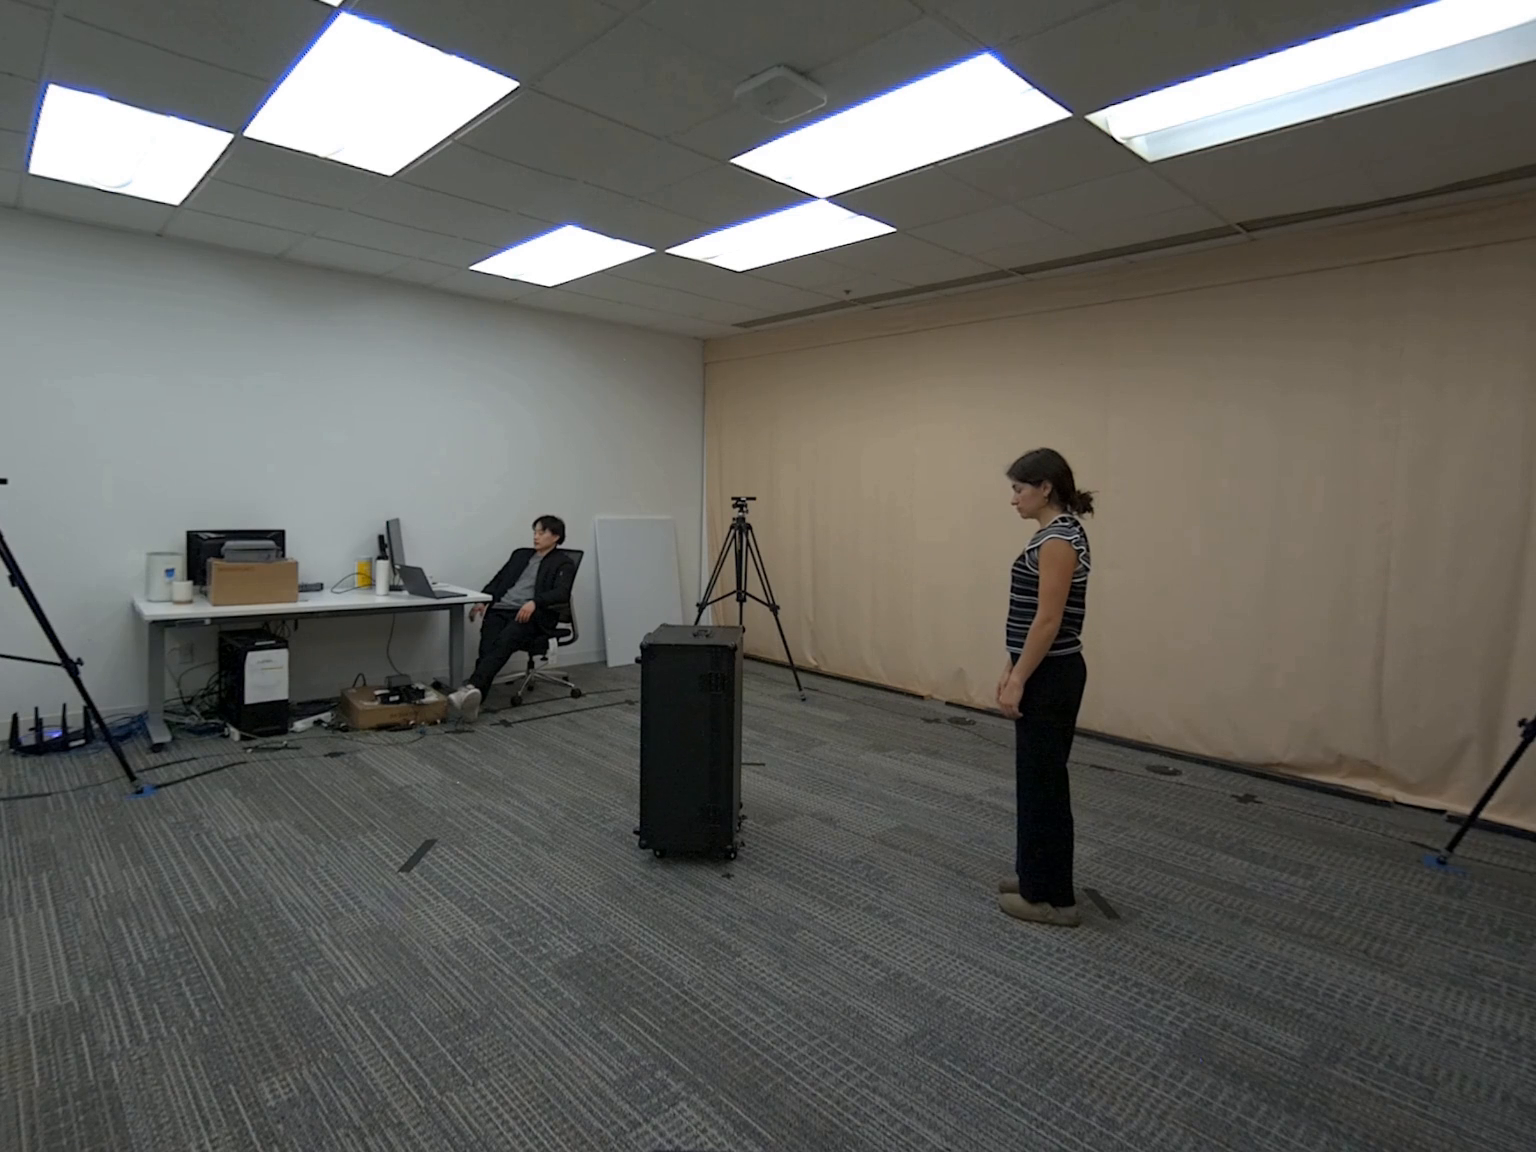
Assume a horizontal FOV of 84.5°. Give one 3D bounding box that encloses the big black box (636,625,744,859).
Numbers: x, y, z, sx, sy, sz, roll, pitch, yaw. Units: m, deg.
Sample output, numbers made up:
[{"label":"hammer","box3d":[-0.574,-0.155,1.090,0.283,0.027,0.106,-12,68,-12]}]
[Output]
[{"label":"big black box","box3d":[-0.313,0.656,3.366,0.398,0.859,0.521,1,4,3]}]
